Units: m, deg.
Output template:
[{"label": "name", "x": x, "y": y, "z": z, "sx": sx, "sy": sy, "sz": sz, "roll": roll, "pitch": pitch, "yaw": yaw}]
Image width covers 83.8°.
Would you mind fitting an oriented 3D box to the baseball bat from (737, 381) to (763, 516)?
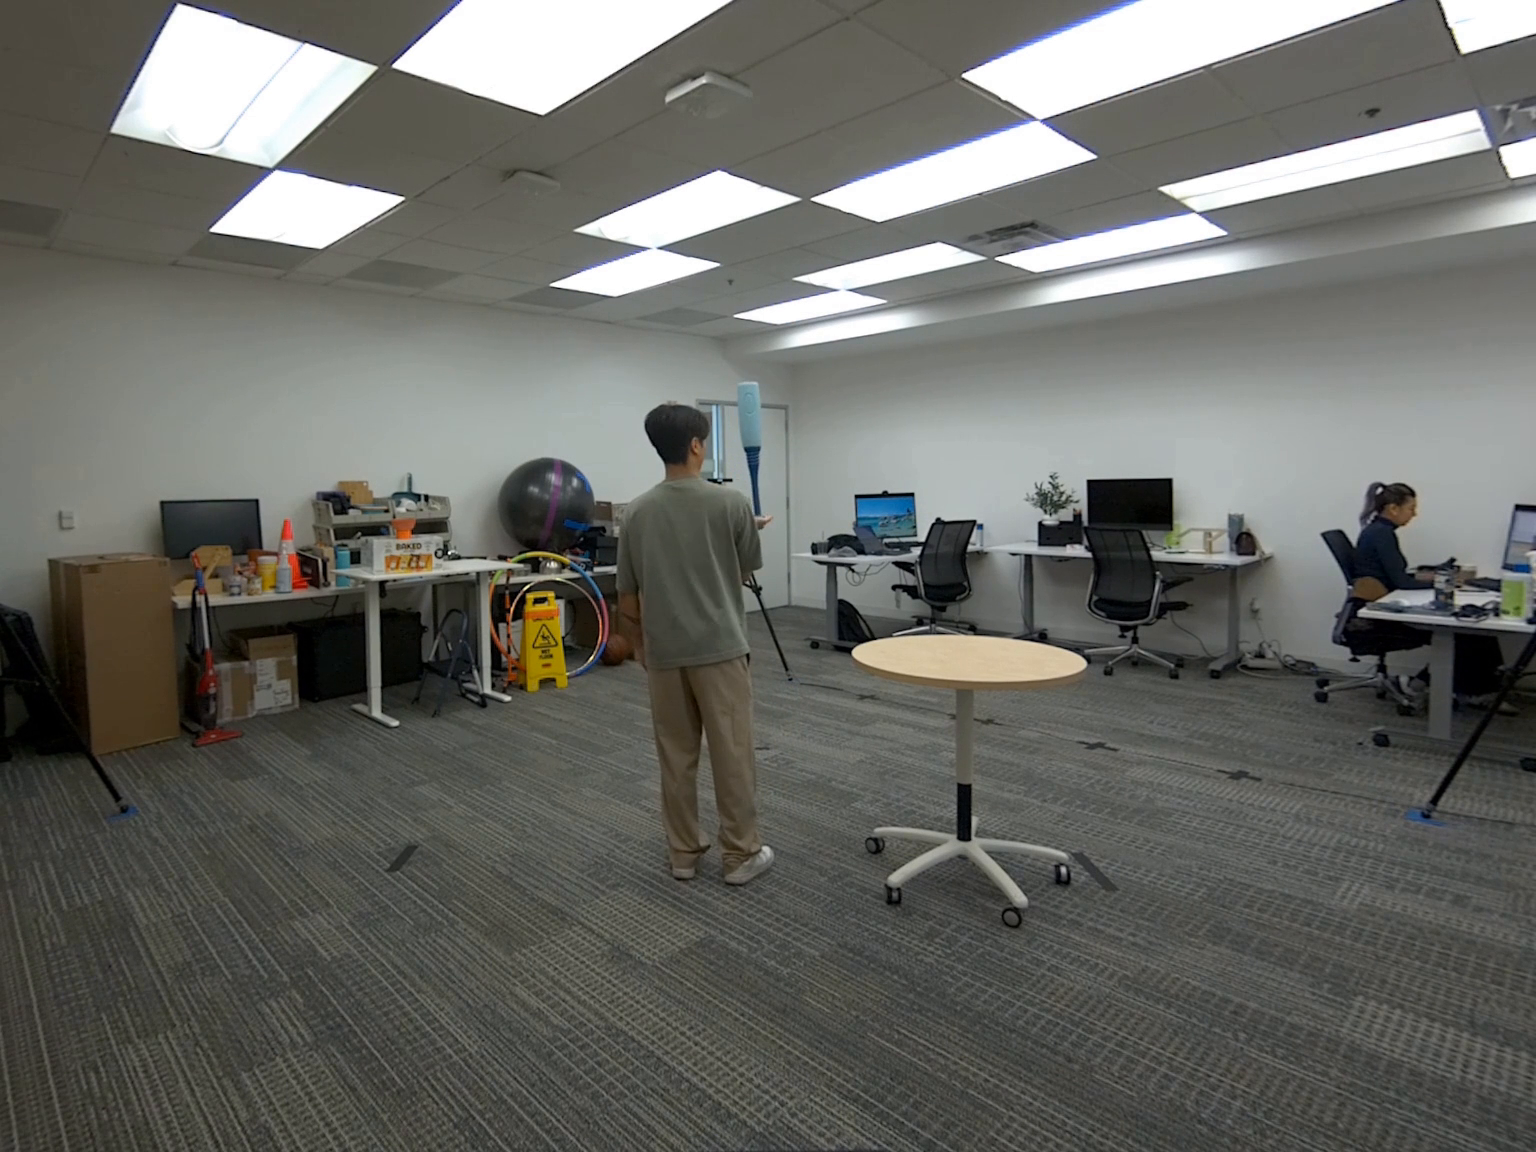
[{"label": "baseball bat", "x": -0.063, "y": -0.481, "z": 3.330, "sx": 0.089, "sy": 0.542, "sz": 0.089, "roll": -4, "pitch": 2, "yaw": -1}]
